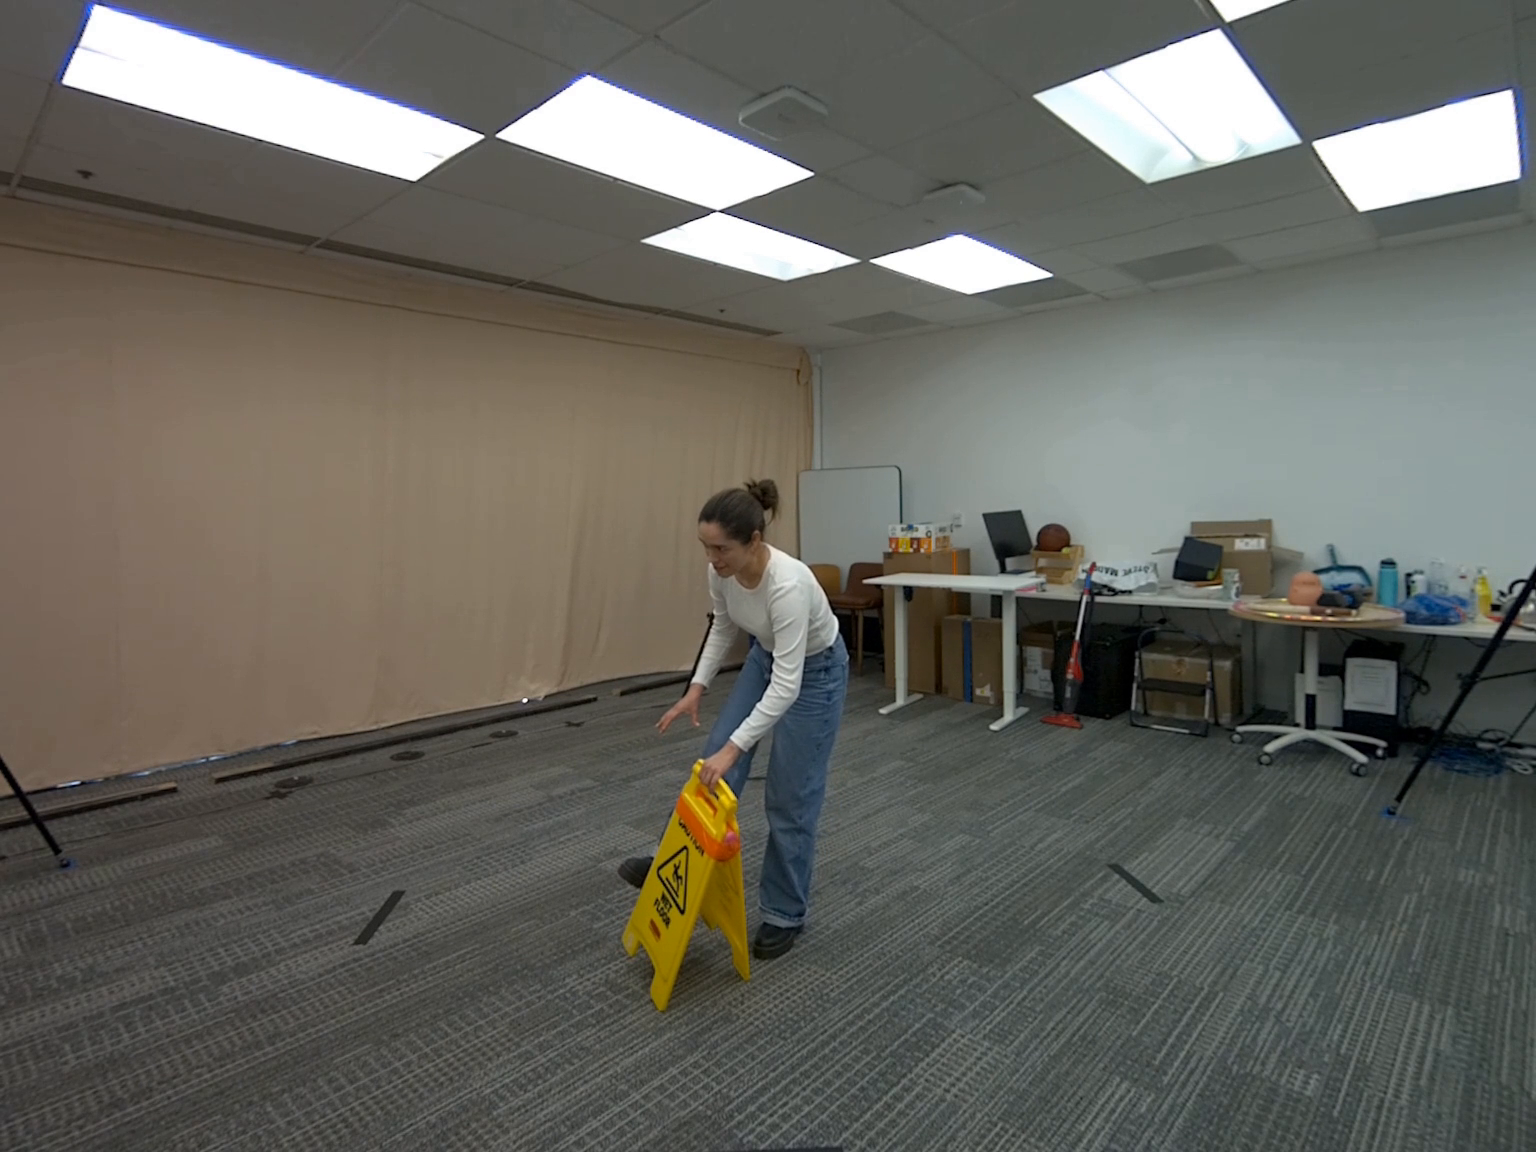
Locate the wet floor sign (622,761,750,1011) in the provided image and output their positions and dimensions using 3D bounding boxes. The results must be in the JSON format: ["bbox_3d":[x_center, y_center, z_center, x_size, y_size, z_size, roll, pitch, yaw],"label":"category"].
[{"bbox_3d":[-0.190,0.847,2.398,0.281,0.641,0.292,-2,23,-33],"label":"wet floor sign"}]
